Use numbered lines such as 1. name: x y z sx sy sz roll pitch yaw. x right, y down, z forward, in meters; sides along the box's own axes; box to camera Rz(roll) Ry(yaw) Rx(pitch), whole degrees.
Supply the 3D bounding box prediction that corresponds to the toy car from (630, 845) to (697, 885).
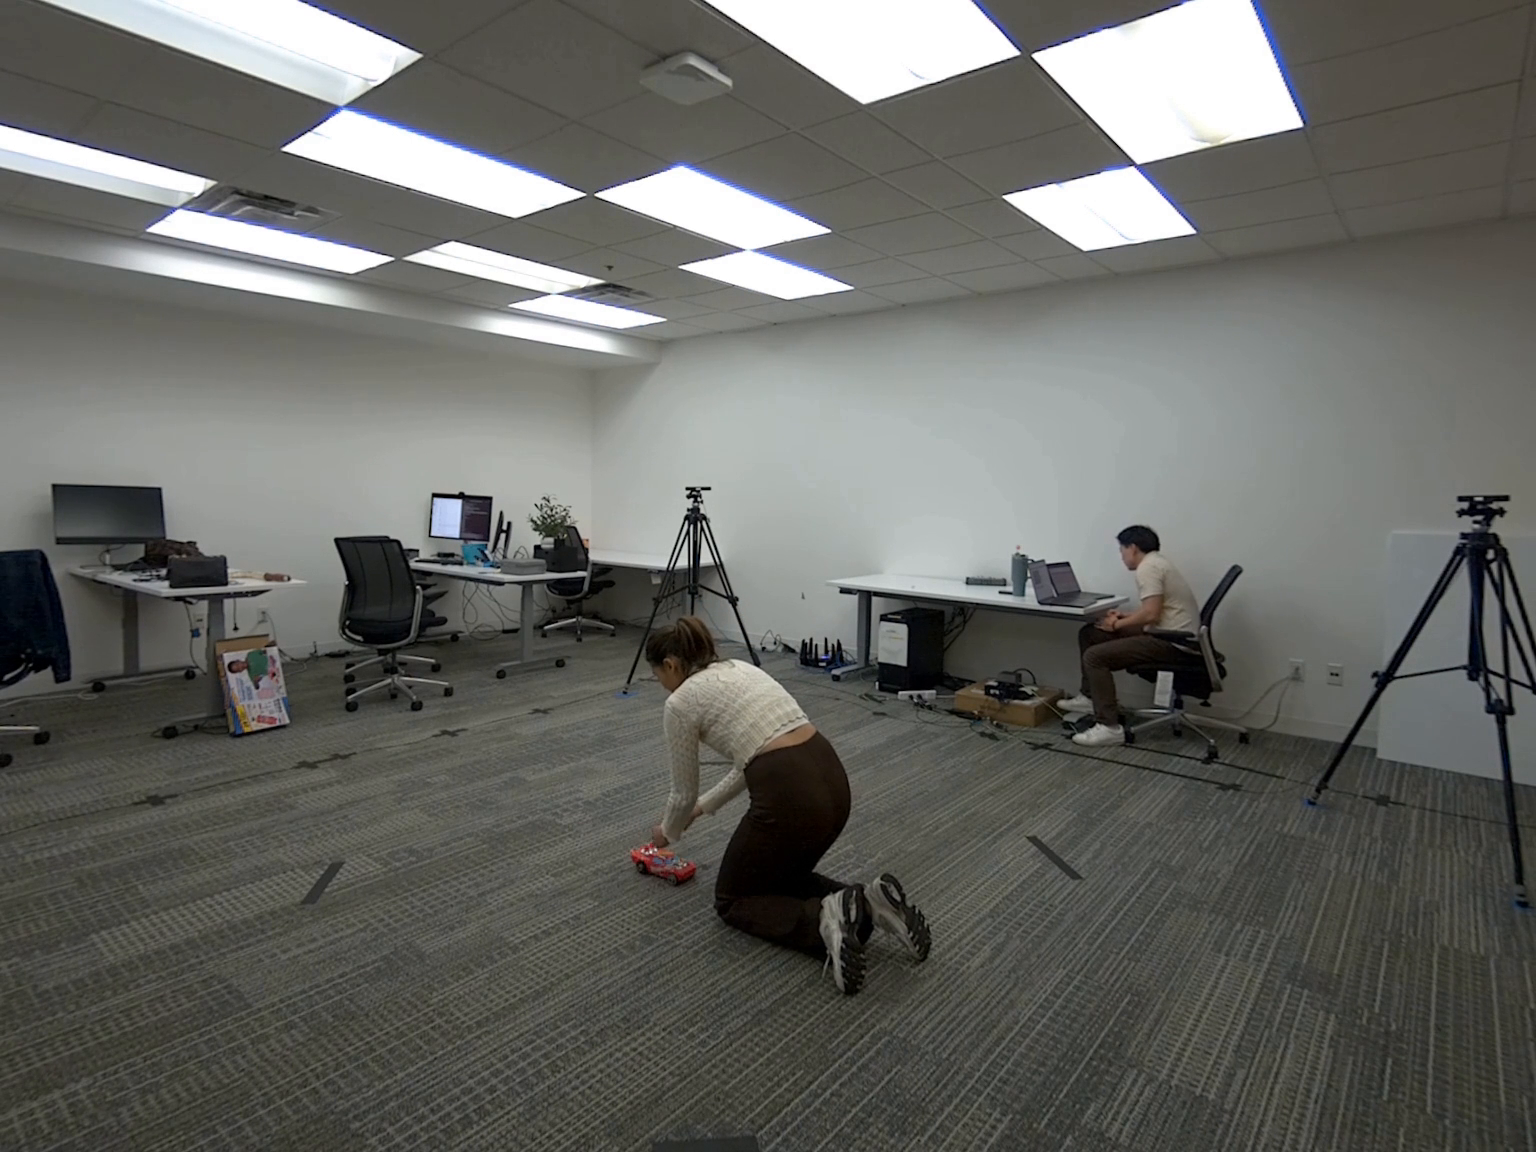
1. toy car: -0.393 1.035 3.066 0.264 0.082 0.126 18 13 34
